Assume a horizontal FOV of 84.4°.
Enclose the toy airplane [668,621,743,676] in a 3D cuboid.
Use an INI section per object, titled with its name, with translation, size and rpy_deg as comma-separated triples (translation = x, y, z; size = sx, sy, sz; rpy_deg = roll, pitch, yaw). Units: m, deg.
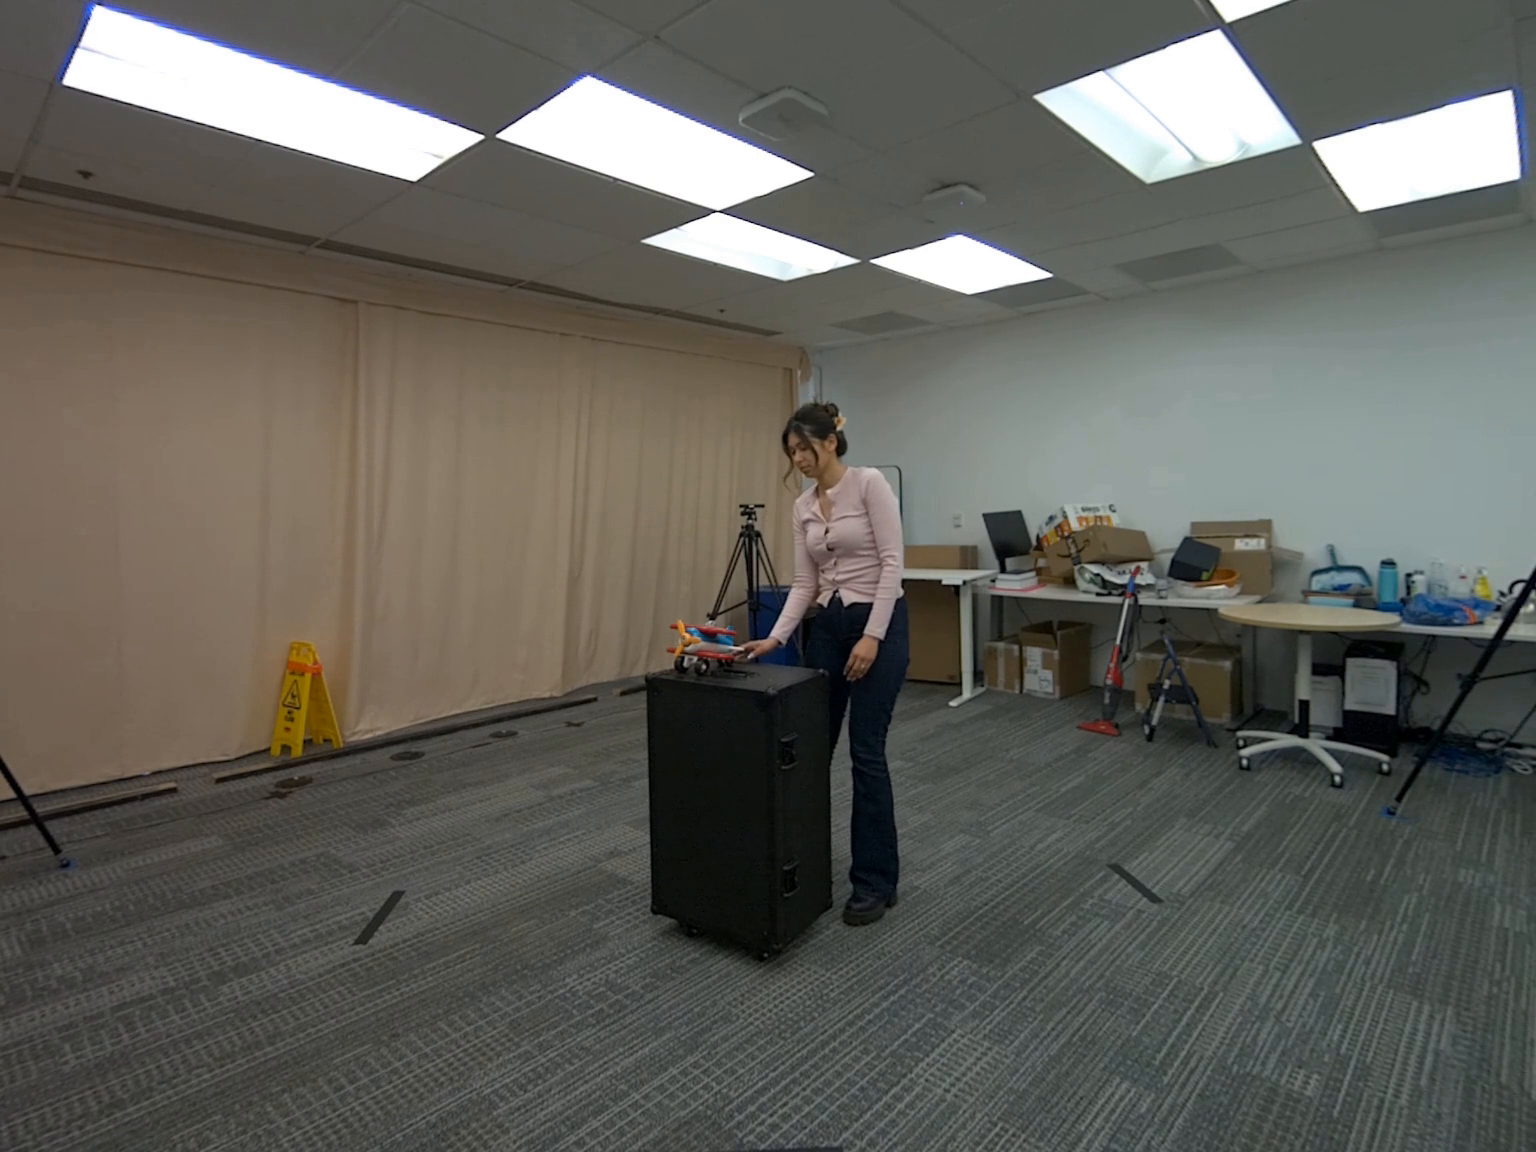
[toy airplane]
translation = -0.212, 0.238, 2.782
size = 0.254, 0.156, 0.257
rpy_deg = 0, 6, 10
